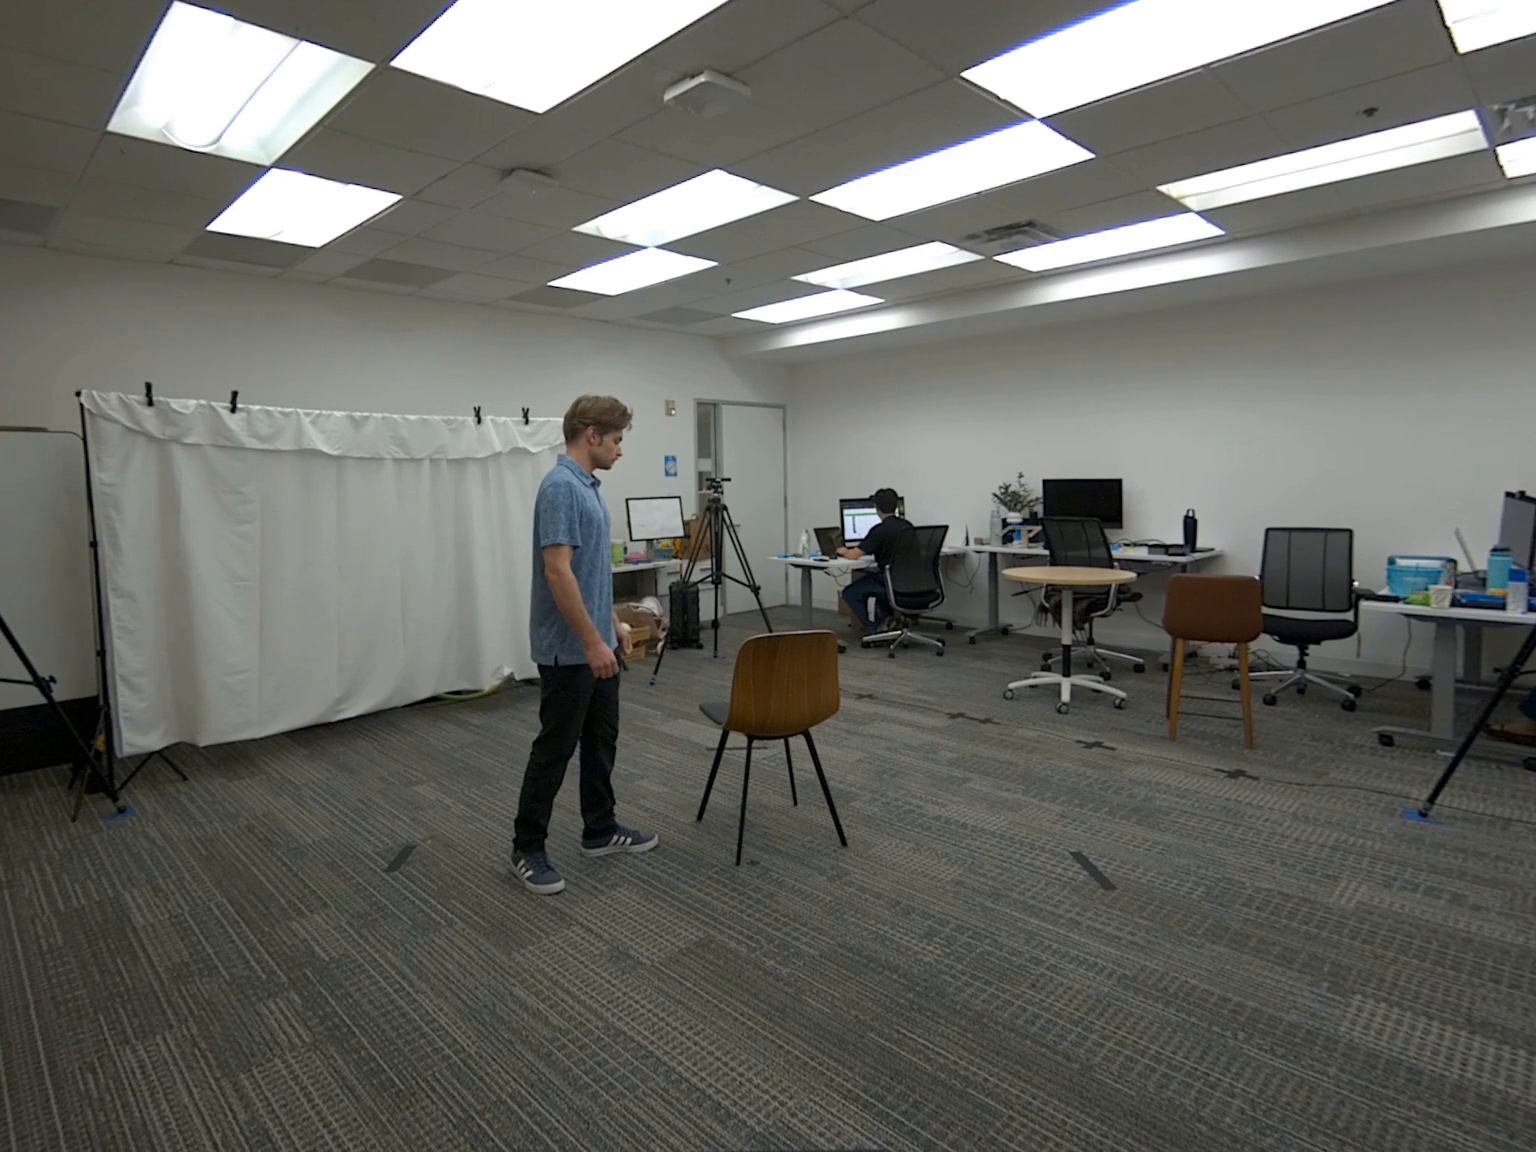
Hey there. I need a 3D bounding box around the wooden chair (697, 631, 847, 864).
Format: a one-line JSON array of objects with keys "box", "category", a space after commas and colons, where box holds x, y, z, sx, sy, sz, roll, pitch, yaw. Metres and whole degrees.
[{"box": [-0.005, 0.588, 3.342, 0.469, 0.871, 0.537, -3, 9, -22], "category": "wooden chair"}]
